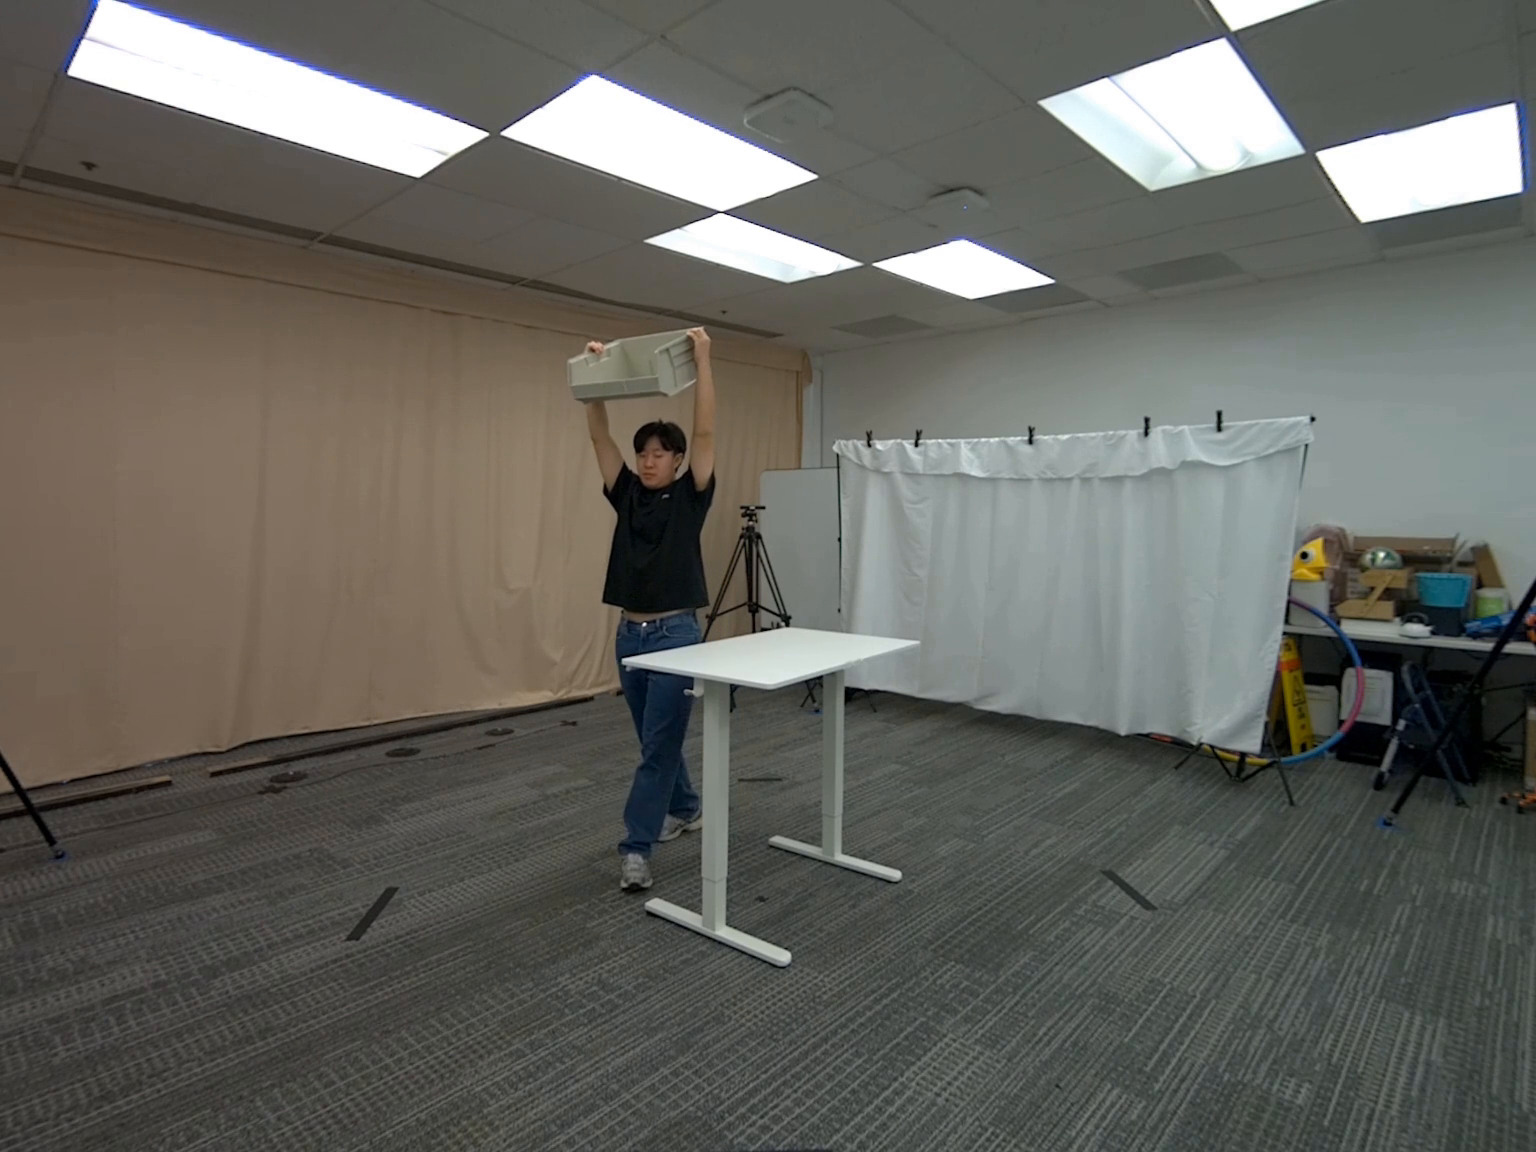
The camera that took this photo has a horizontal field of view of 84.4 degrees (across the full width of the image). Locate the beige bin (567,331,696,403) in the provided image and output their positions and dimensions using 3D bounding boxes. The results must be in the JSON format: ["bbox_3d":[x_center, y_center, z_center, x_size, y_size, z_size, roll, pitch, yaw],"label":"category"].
[{"bbox_3d":[-0.487,-0.800,3.229,0.434,0.185,0.373,1,27,30],"label":"beige bin"}]
